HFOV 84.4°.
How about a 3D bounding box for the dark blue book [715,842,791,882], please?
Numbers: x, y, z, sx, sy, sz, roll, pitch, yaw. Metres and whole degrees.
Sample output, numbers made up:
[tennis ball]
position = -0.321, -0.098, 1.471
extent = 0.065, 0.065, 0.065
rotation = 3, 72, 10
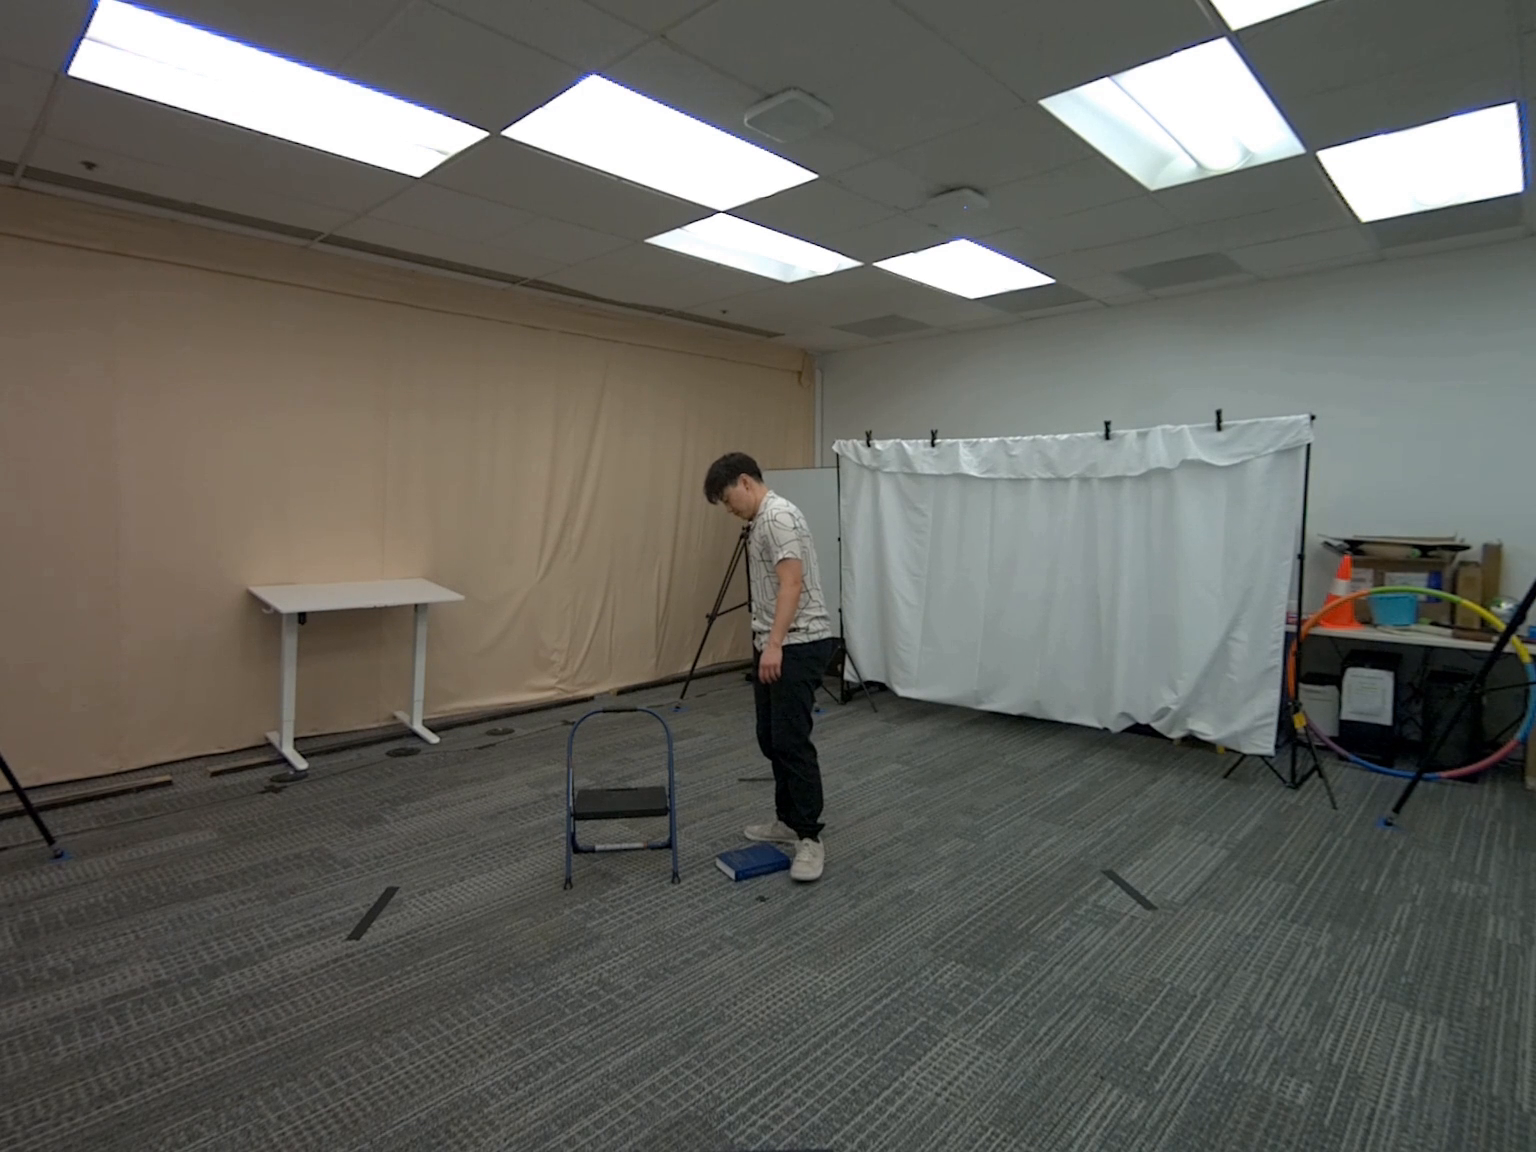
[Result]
[dark blue book]
position = -0.058, 1.100, 3.239
extent = 0.239, 0.045, 0.168
rotation = -3, 6, -30
